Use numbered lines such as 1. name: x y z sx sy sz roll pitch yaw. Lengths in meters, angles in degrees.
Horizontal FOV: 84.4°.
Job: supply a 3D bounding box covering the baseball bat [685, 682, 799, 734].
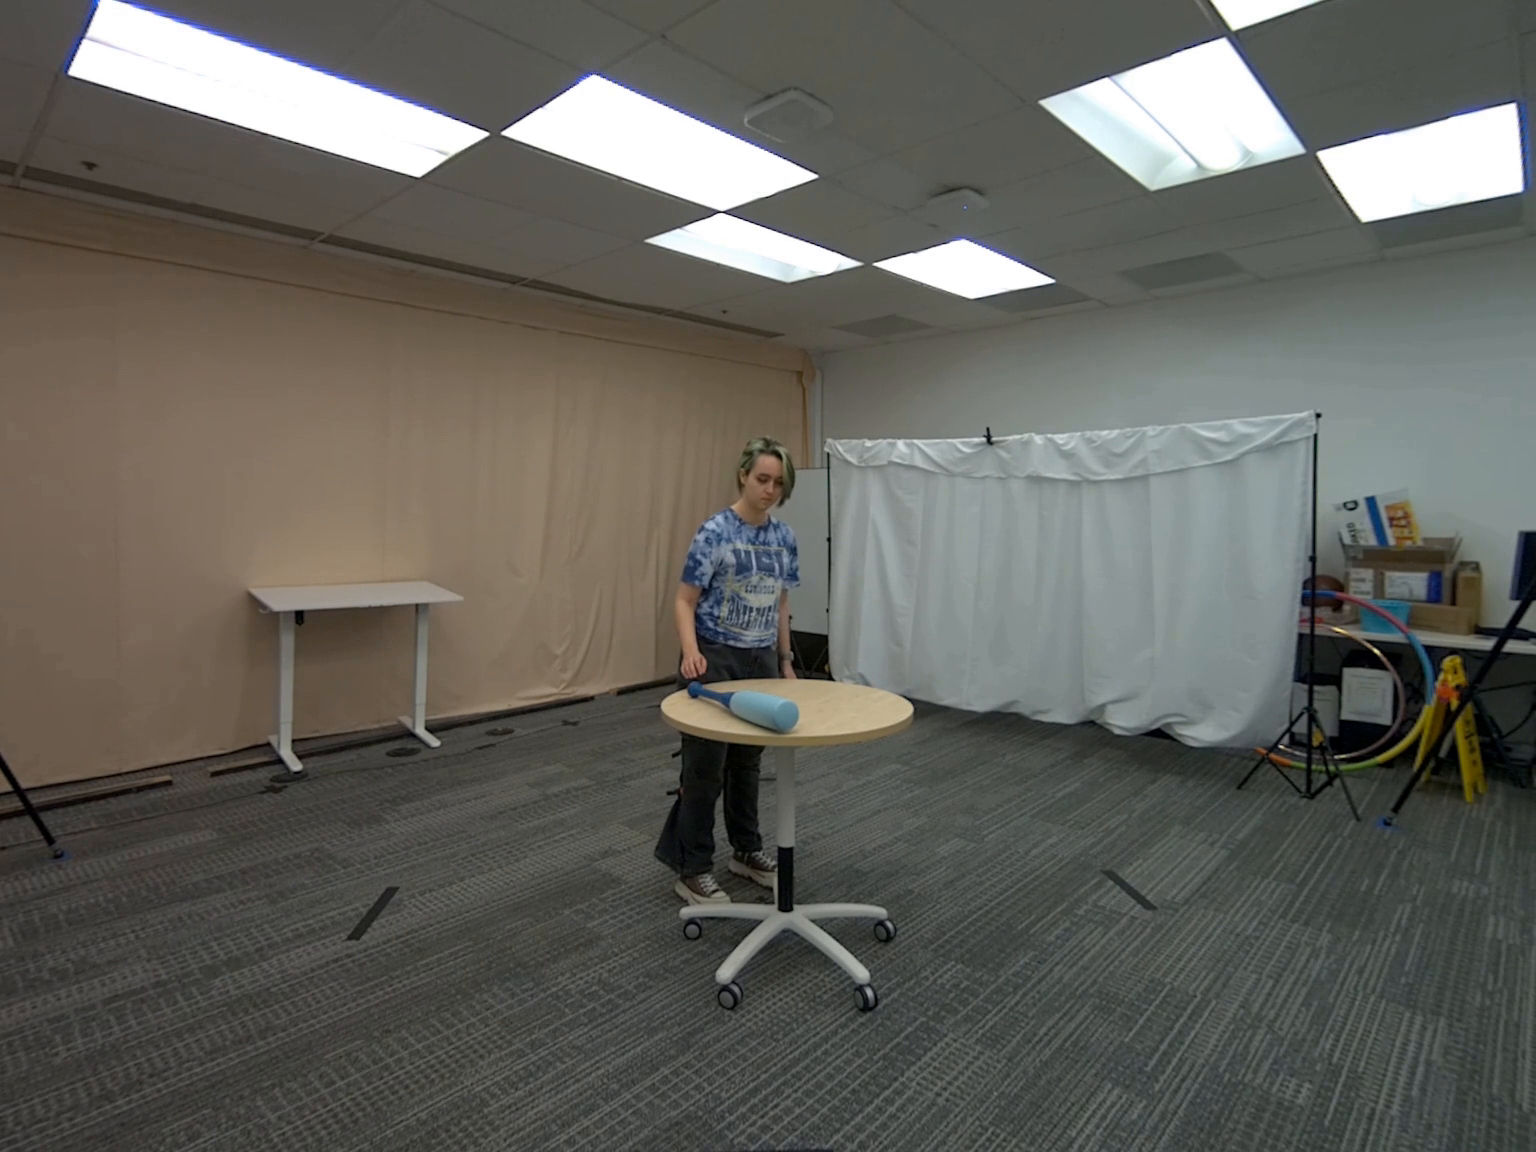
1. baseball bat: -0.093 0.369 2.446 0.087 0.089 0.558 -2 1 -31
